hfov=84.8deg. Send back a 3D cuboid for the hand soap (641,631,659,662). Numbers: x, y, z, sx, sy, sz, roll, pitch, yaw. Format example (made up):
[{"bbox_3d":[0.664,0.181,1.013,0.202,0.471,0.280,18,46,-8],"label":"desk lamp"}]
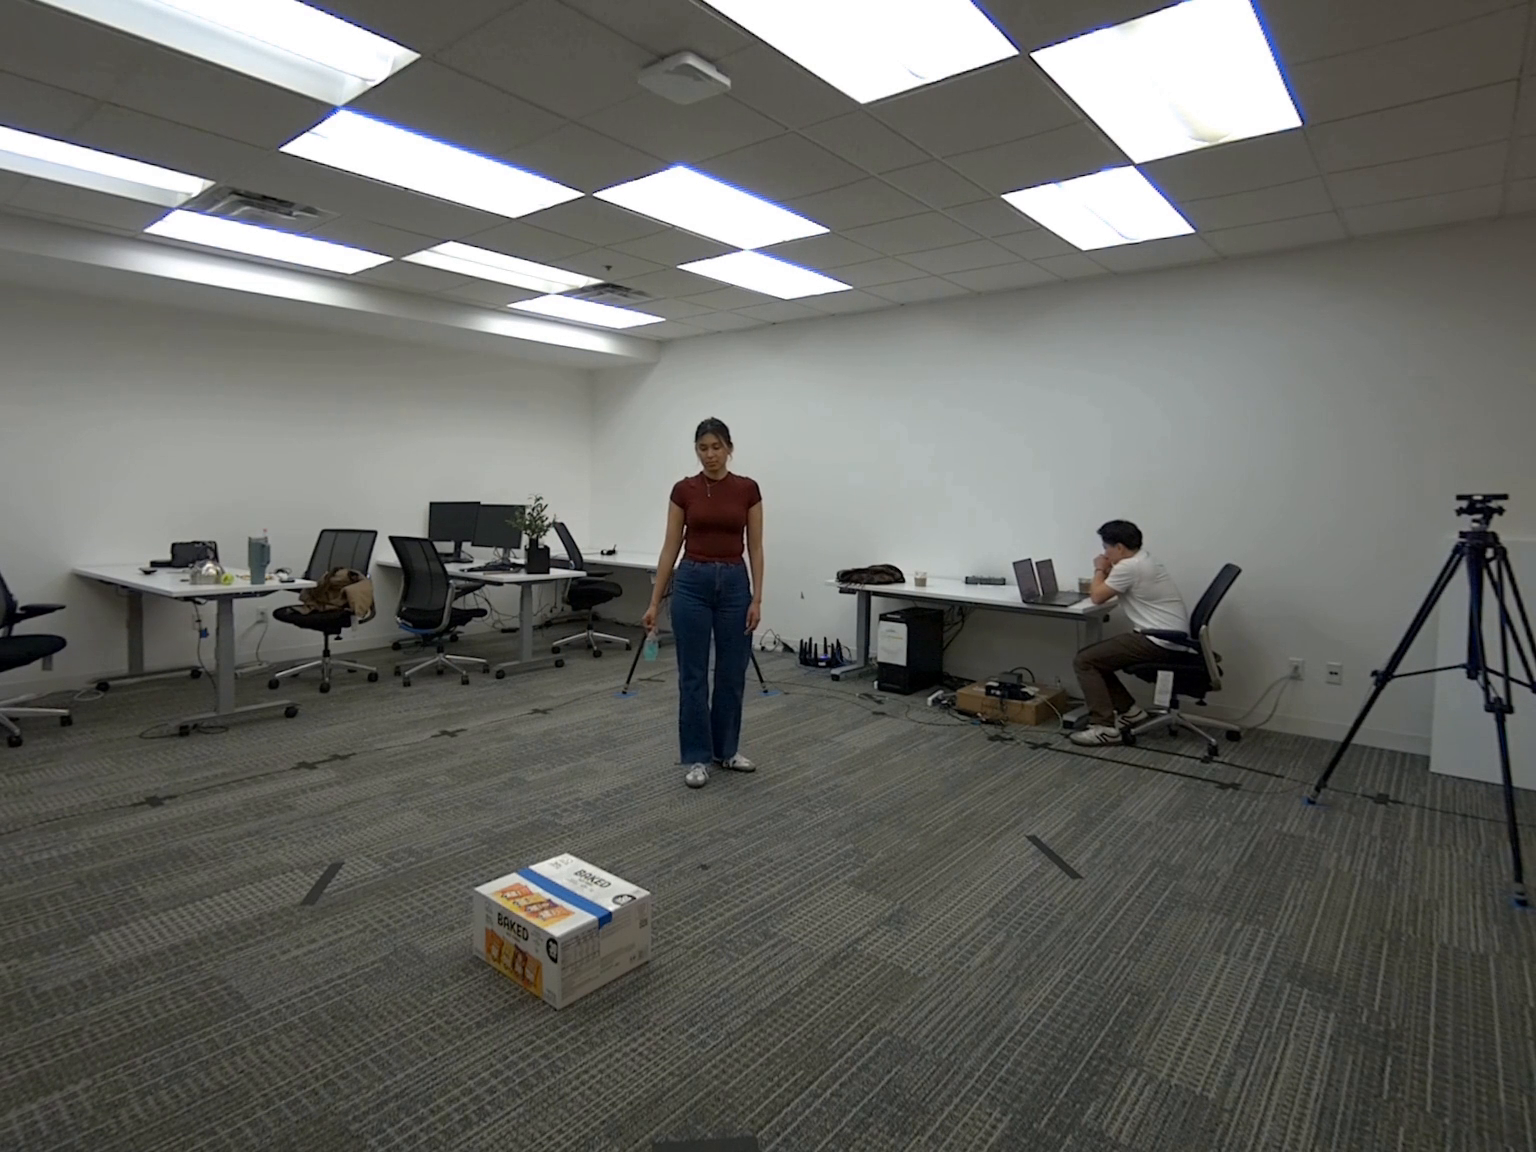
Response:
[{"bbox_3d":[-0.561,0.311,4.038,0.044,0.168,0.082,3,3,28],"label":"hand soap"}]
